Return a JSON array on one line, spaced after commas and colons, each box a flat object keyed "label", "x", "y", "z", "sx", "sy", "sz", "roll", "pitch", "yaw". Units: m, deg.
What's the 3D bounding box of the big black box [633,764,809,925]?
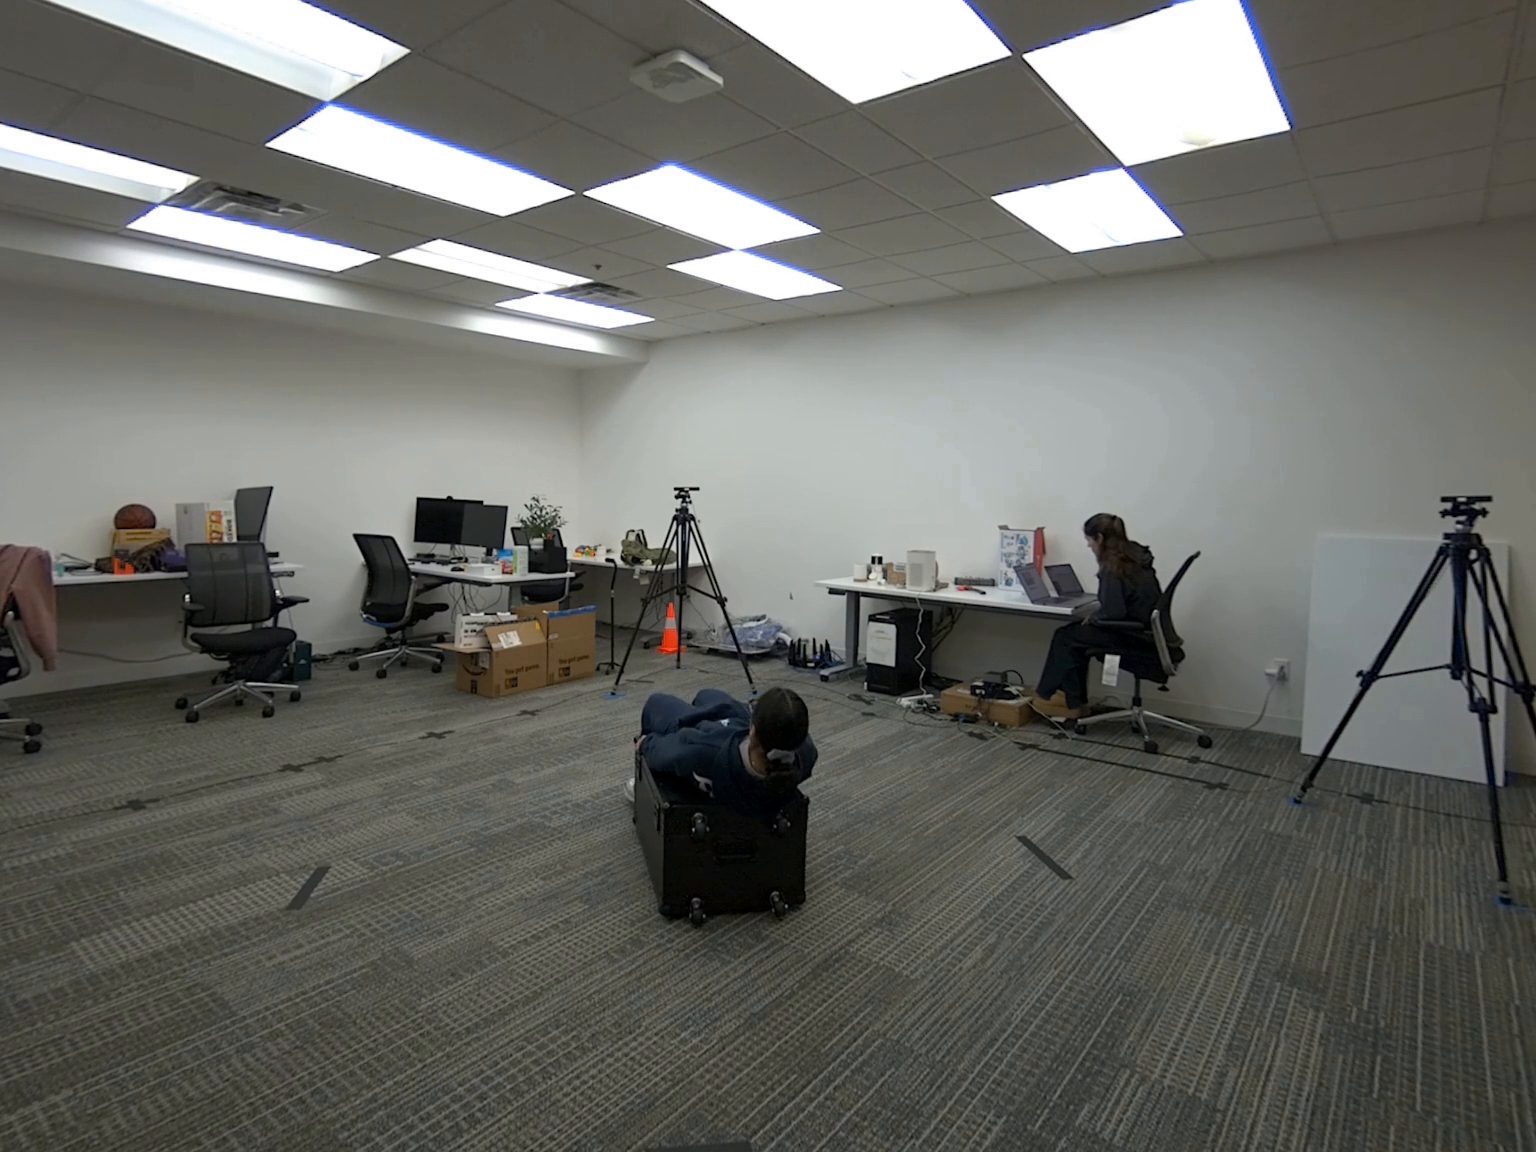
[{"label": "big black box", "x": -0.207, "y": 0.874, "z": 3.091, "sx": 0.513, "sy": 0.395, "sz": 0.877, "roll": 2, "pitch": 4, "yaw": -15}]
